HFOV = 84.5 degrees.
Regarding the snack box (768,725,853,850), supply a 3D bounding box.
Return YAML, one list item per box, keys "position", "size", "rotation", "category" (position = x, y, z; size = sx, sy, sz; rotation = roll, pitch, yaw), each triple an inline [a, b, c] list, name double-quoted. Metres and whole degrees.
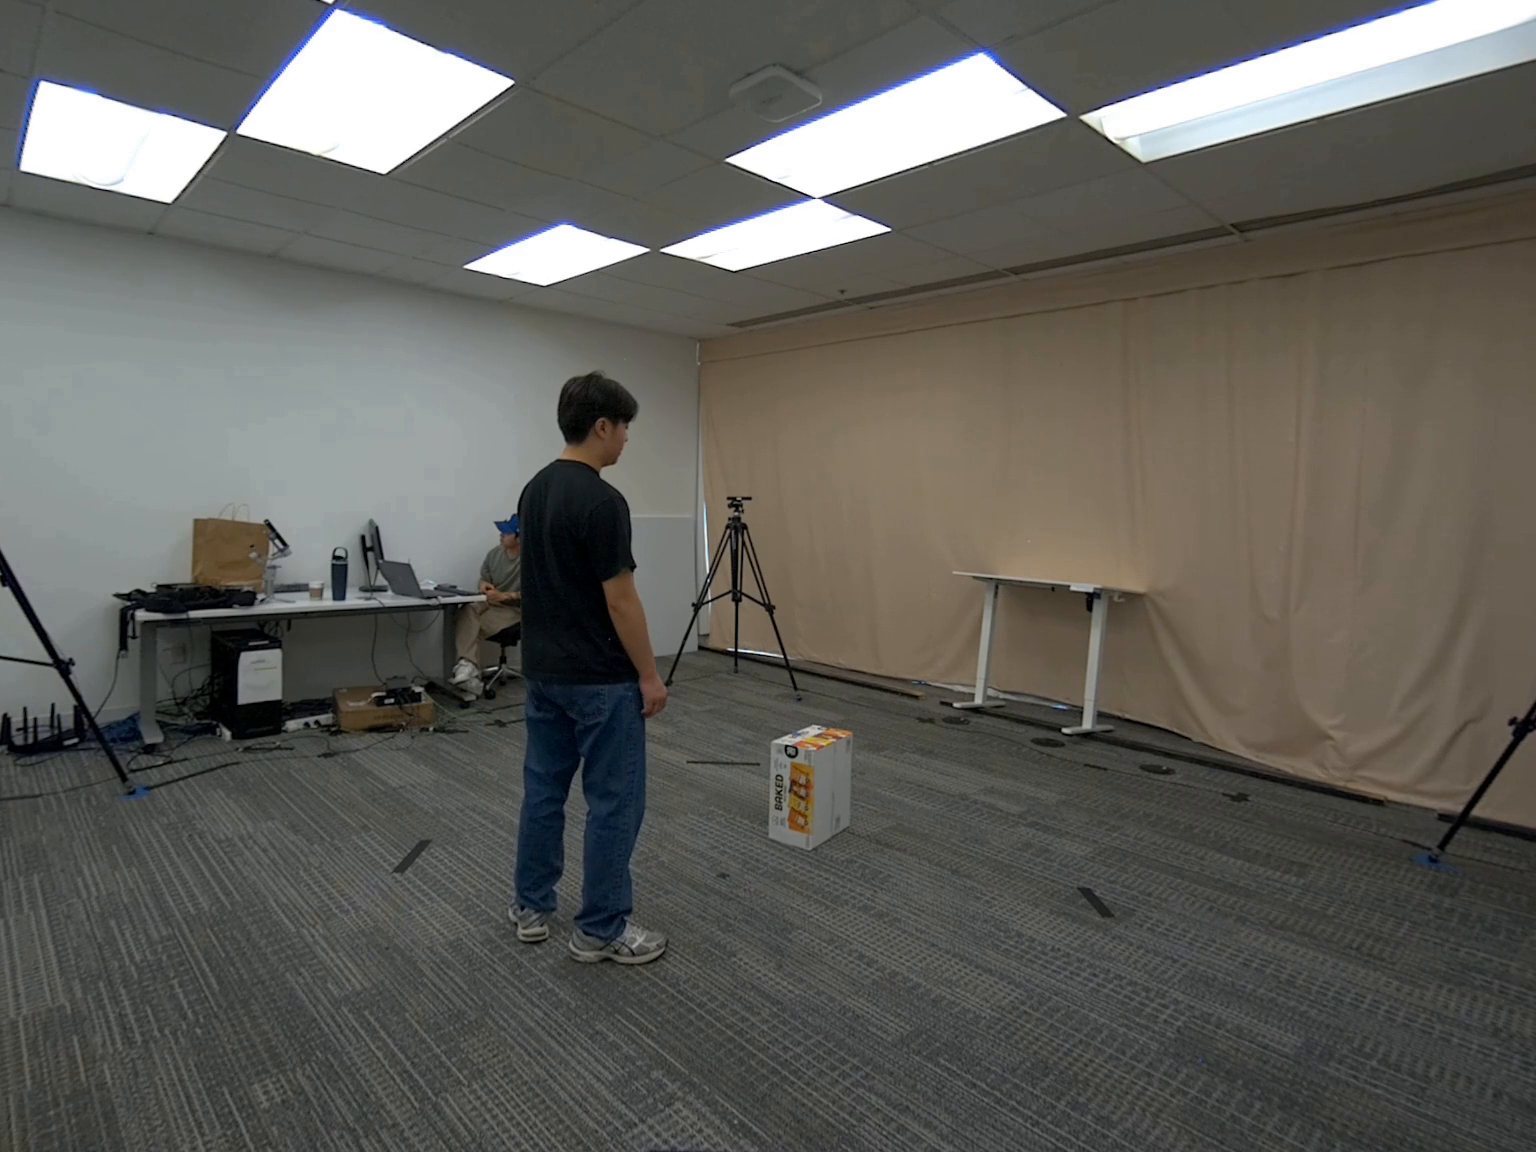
- position: [0.179, 0.875, 3.529]
  size: [0.210, 0.404, 0.333]
  rotation: [3, 4, 34]
  category: "snack box"
